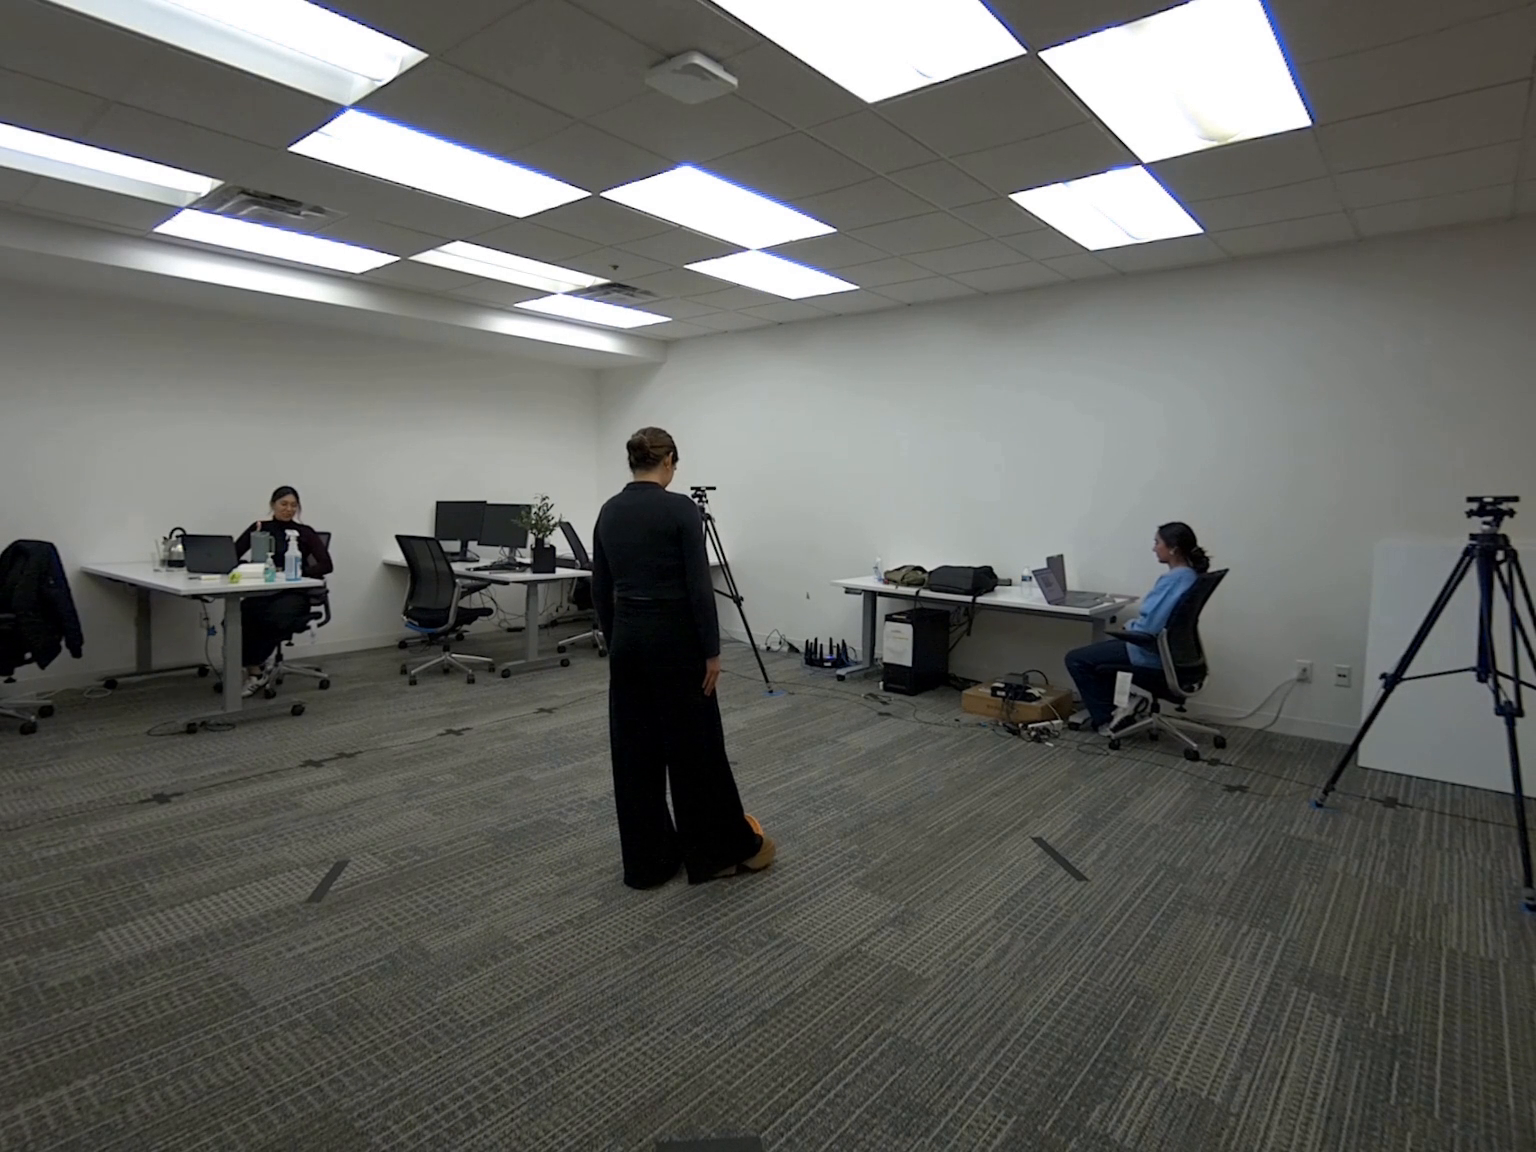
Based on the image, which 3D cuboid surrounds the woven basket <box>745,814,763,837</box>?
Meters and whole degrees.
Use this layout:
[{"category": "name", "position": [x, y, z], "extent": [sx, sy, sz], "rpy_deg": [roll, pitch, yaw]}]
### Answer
[{"category": "woven basket", "position": [-0.158, 1.000, 3.329], "extent": [0.250, 0.073, 0.355], "rpy_deg": [2, 4, -10]}]
